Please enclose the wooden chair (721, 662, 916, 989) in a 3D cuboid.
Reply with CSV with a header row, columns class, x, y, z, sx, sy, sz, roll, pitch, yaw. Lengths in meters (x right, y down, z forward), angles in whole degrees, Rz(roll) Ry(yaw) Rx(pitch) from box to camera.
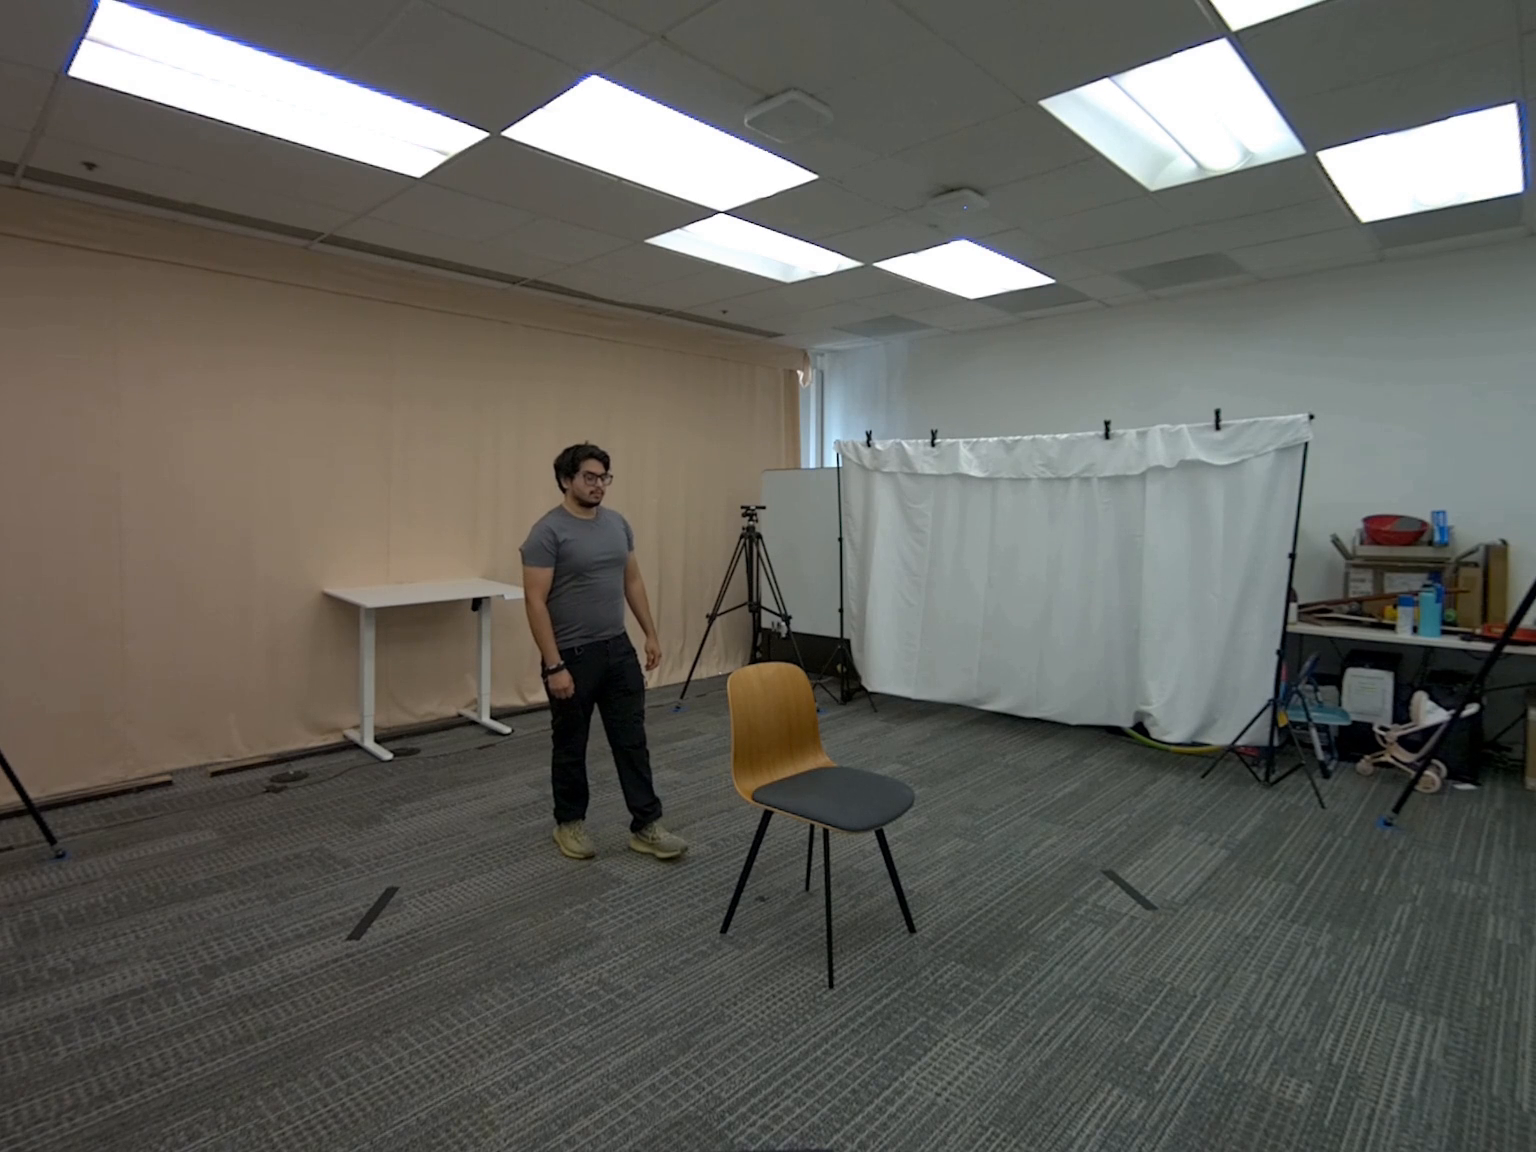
class,x,y,z,sx,sy,sz,roll,pitch,yaw
wooden chair,0.173,0.740,2.705,0.539,0.877,0.463,-3,1,44
